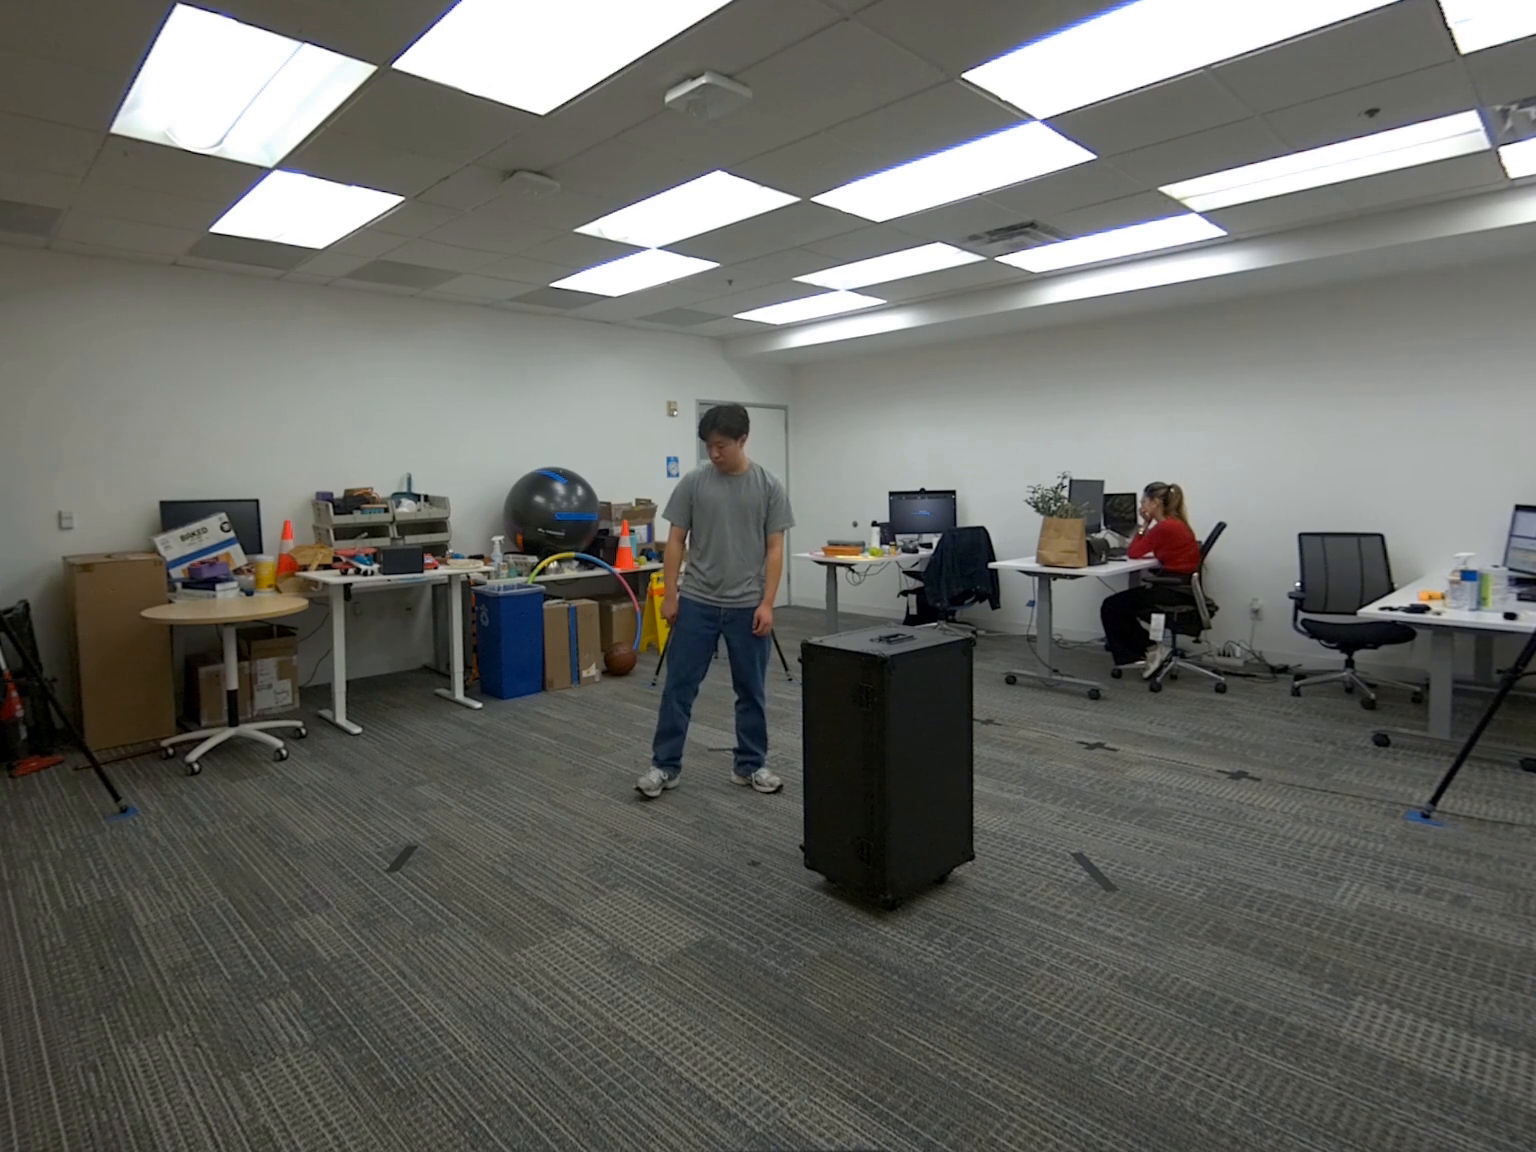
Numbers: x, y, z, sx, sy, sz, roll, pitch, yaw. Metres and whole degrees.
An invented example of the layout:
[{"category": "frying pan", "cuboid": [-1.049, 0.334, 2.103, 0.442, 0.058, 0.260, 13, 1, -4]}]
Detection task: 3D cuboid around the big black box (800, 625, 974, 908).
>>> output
[{"category": "big black box", "cuboid": [0.405, 0.632, 2.915, 0.507, 0.859, 0.408, -4, 5, -42]}]
